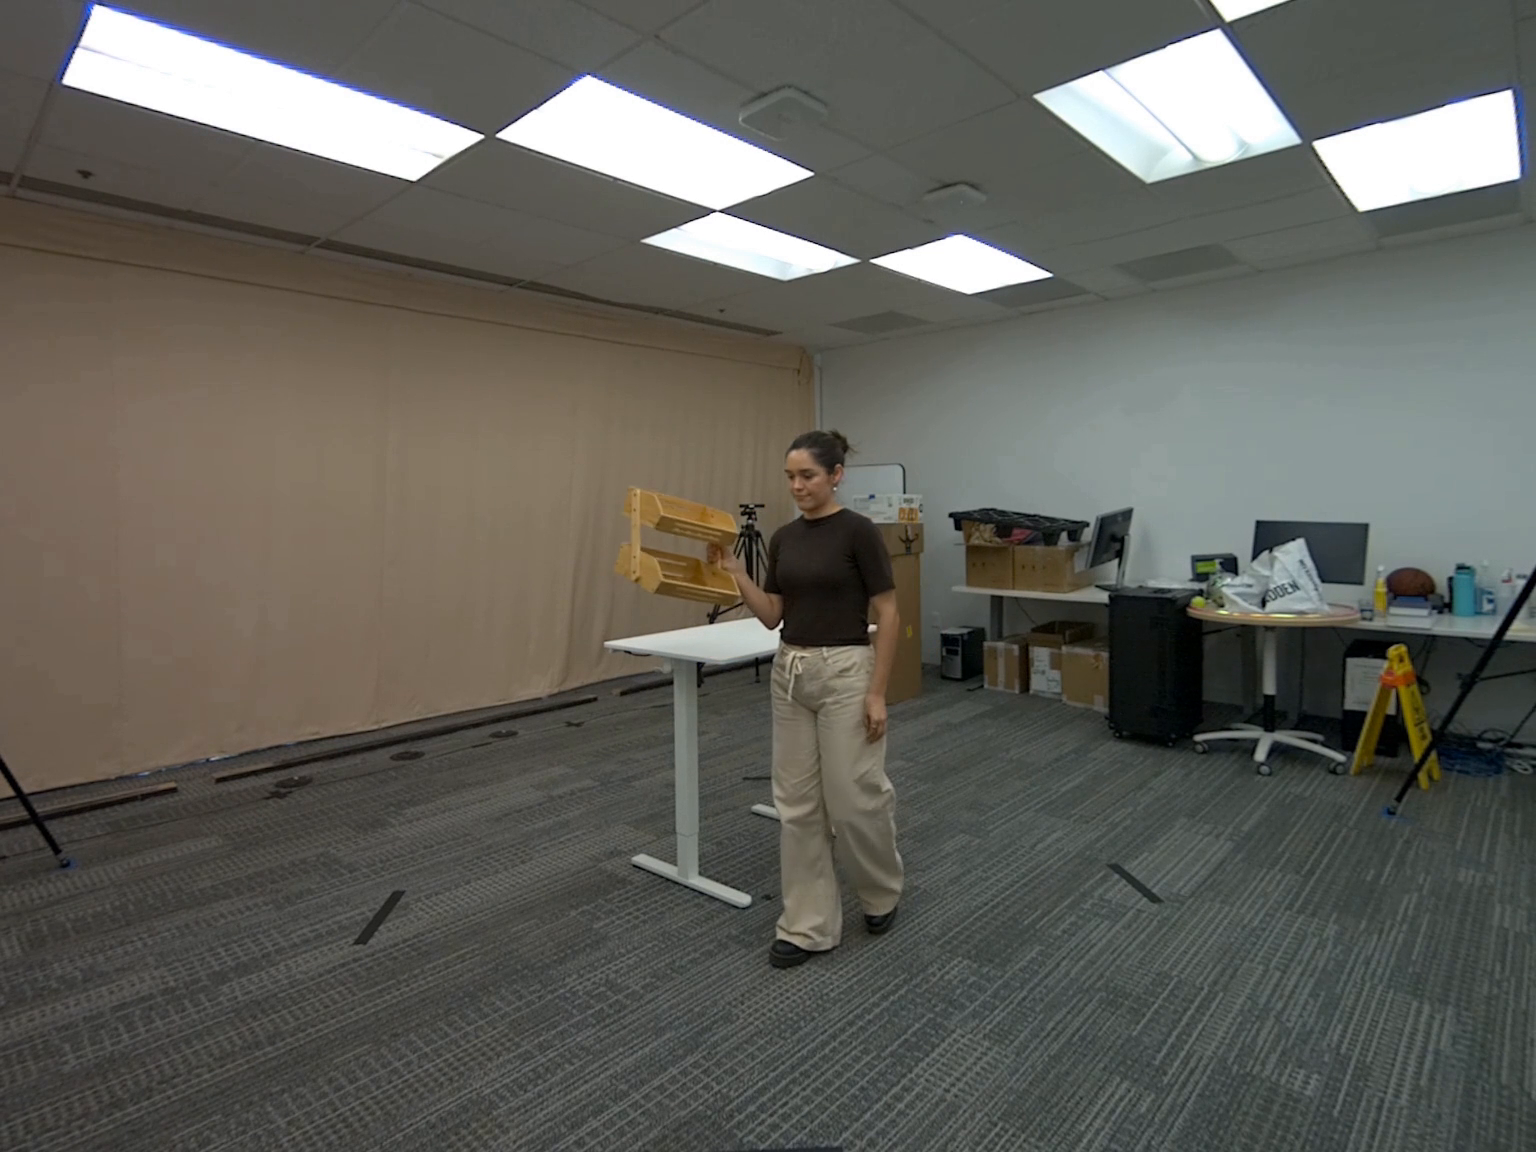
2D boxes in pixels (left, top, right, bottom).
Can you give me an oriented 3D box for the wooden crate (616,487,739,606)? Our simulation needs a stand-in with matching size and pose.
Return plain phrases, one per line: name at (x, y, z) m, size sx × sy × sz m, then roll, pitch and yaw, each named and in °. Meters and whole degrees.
wooden crate at (-0.248, -0.088, 2.547) m, size 0.313 × 0.273 × 0.313 m, roll 12°, pitch 7°, yaw -40°
